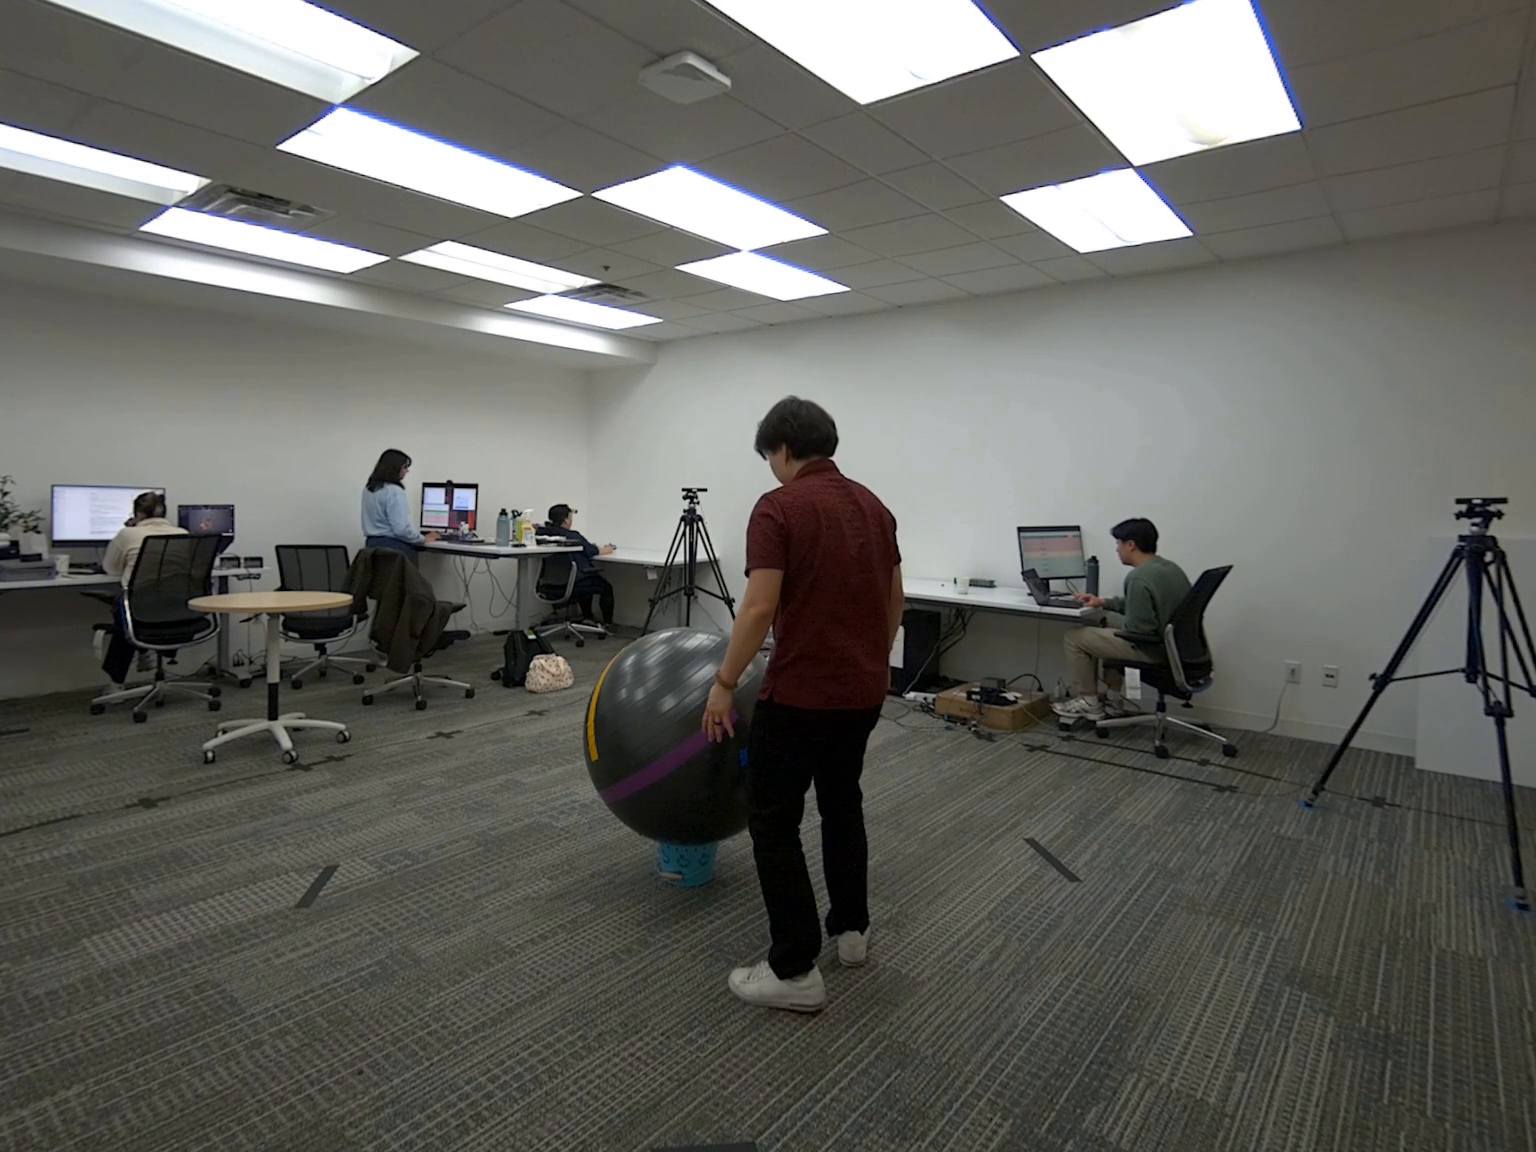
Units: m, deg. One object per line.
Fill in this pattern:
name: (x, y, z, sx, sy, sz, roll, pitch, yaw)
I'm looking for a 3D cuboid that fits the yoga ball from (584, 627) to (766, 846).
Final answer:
yoga ball: (-0.293, 0.568, 3.049, 0.757, 0.756, 0.761, 1, 4, -2)
